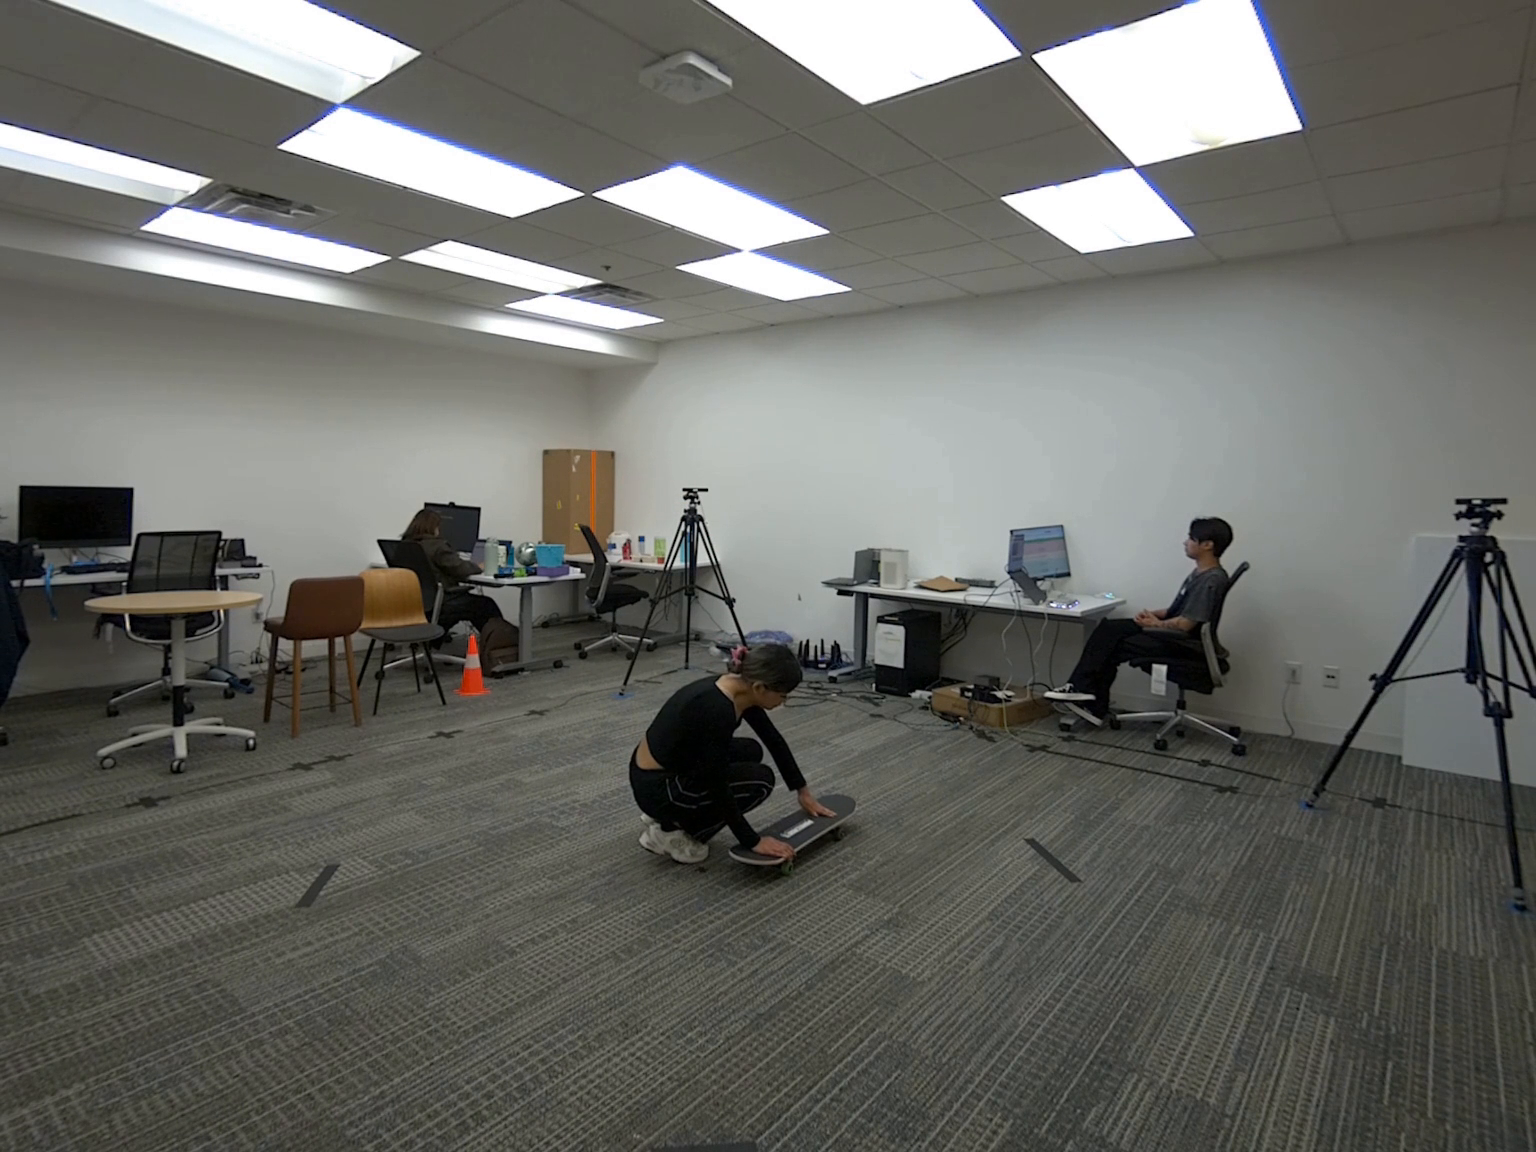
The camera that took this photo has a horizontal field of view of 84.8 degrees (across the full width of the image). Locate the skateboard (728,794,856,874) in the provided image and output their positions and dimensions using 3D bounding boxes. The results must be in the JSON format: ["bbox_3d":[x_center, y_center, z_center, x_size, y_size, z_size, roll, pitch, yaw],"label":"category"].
[{"bbox_3d":[0.105,1.002,3.278,0.199,0.110,0.764,4,7,33],"label":"skateboard"}]
